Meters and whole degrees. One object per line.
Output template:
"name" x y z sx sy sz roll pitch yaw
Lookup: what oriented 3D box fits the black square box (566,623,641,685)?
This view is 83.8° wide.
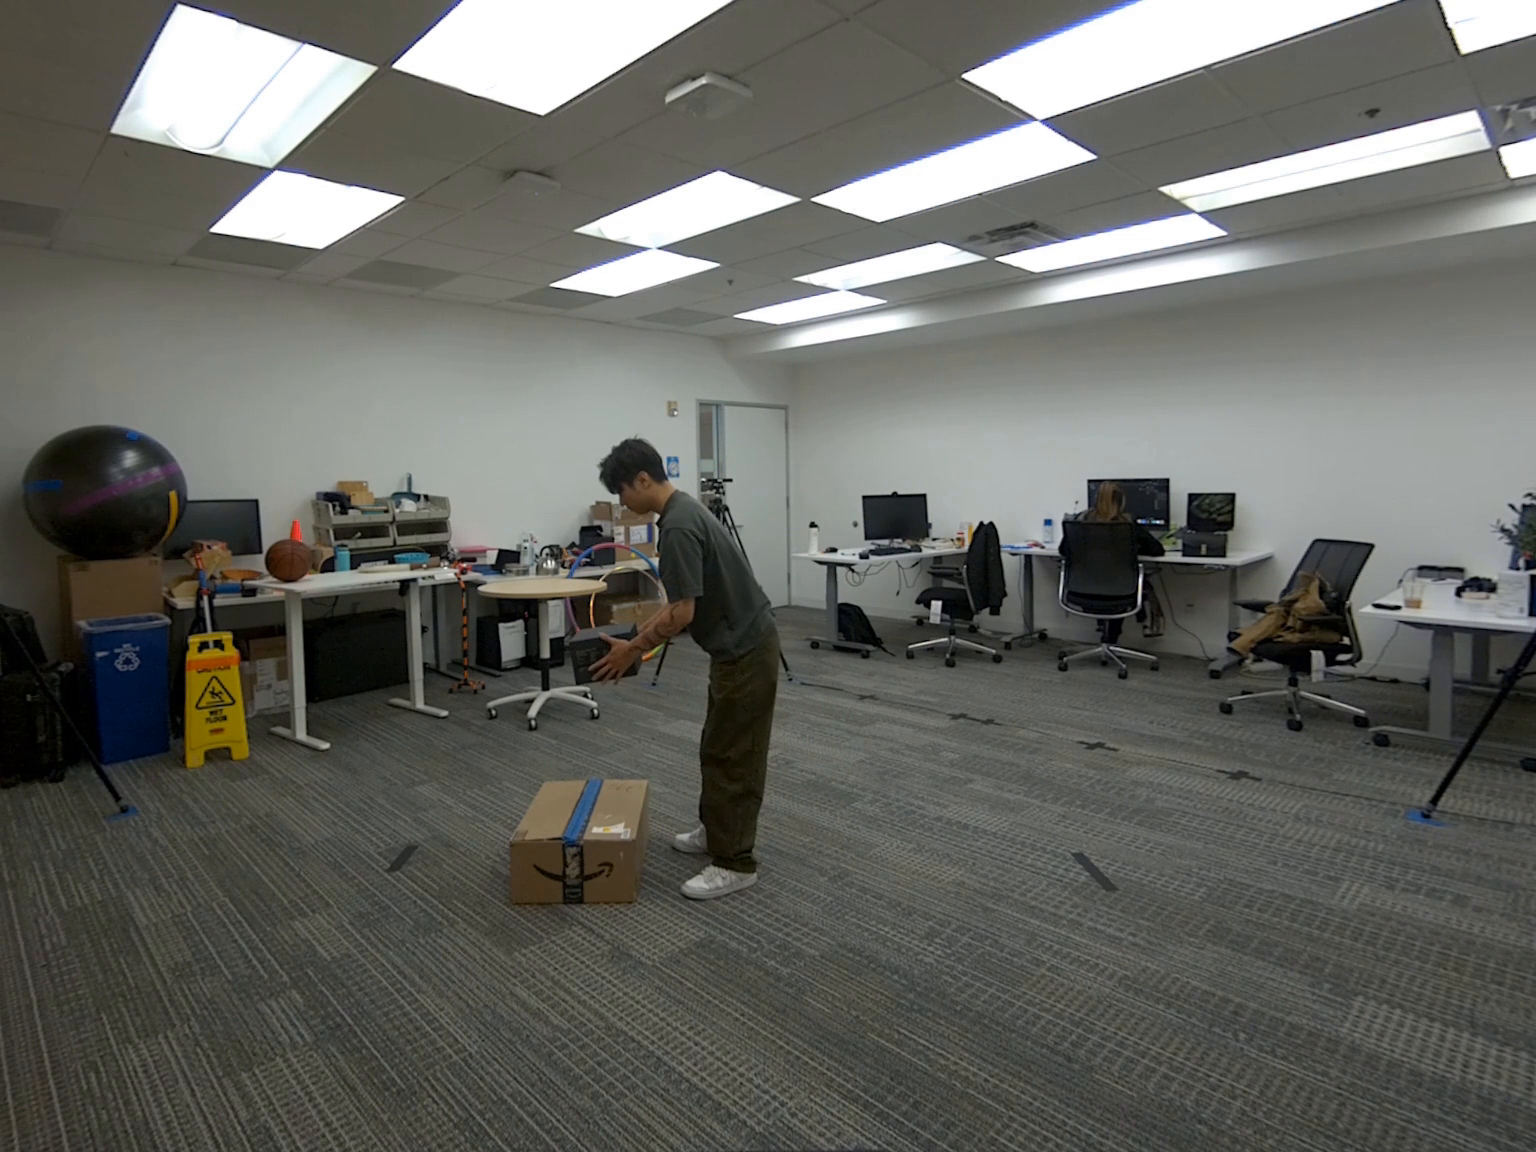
"black square box" -0.582 0.271 3.059 0.217 0.155 0.230 -9 9 -1
